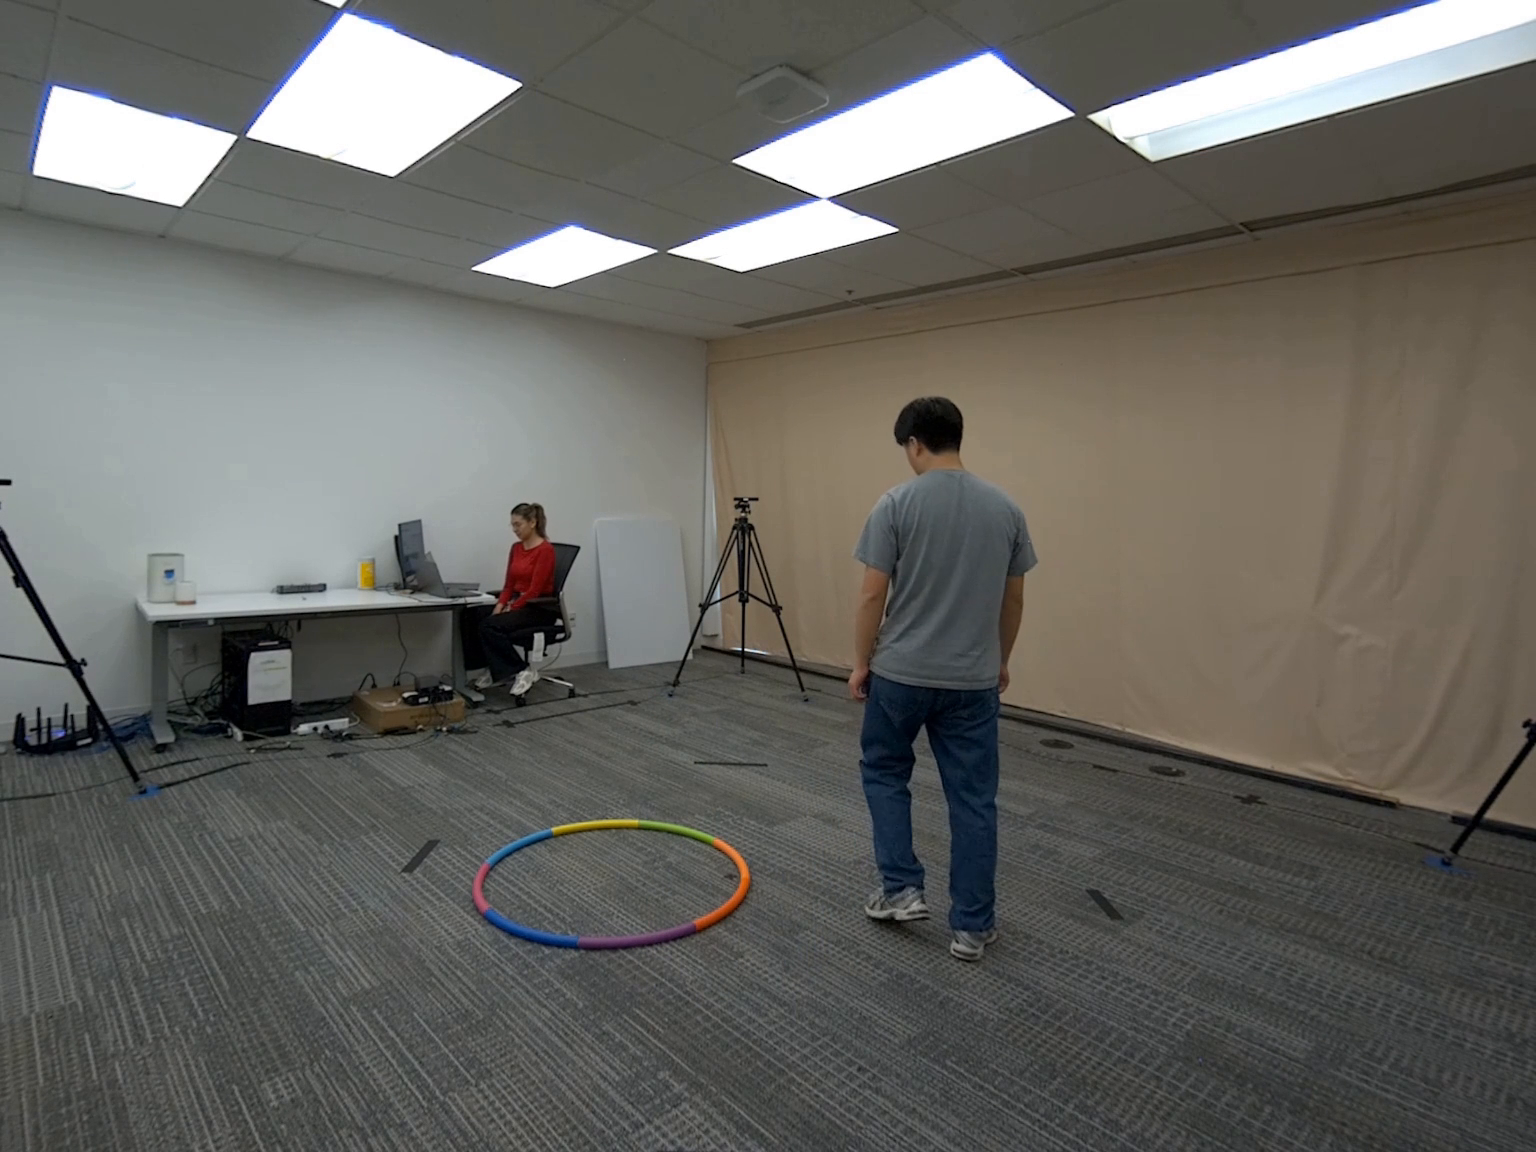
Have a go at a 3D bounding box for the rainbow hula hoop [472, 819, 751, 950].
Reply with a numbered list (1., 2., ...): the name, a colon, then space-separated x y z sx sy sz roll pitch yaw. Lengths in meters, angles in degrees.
1. rainbow hula hoop: -0.569 1.067 3.058 0.978 0.035 0.982 2 5 -1
